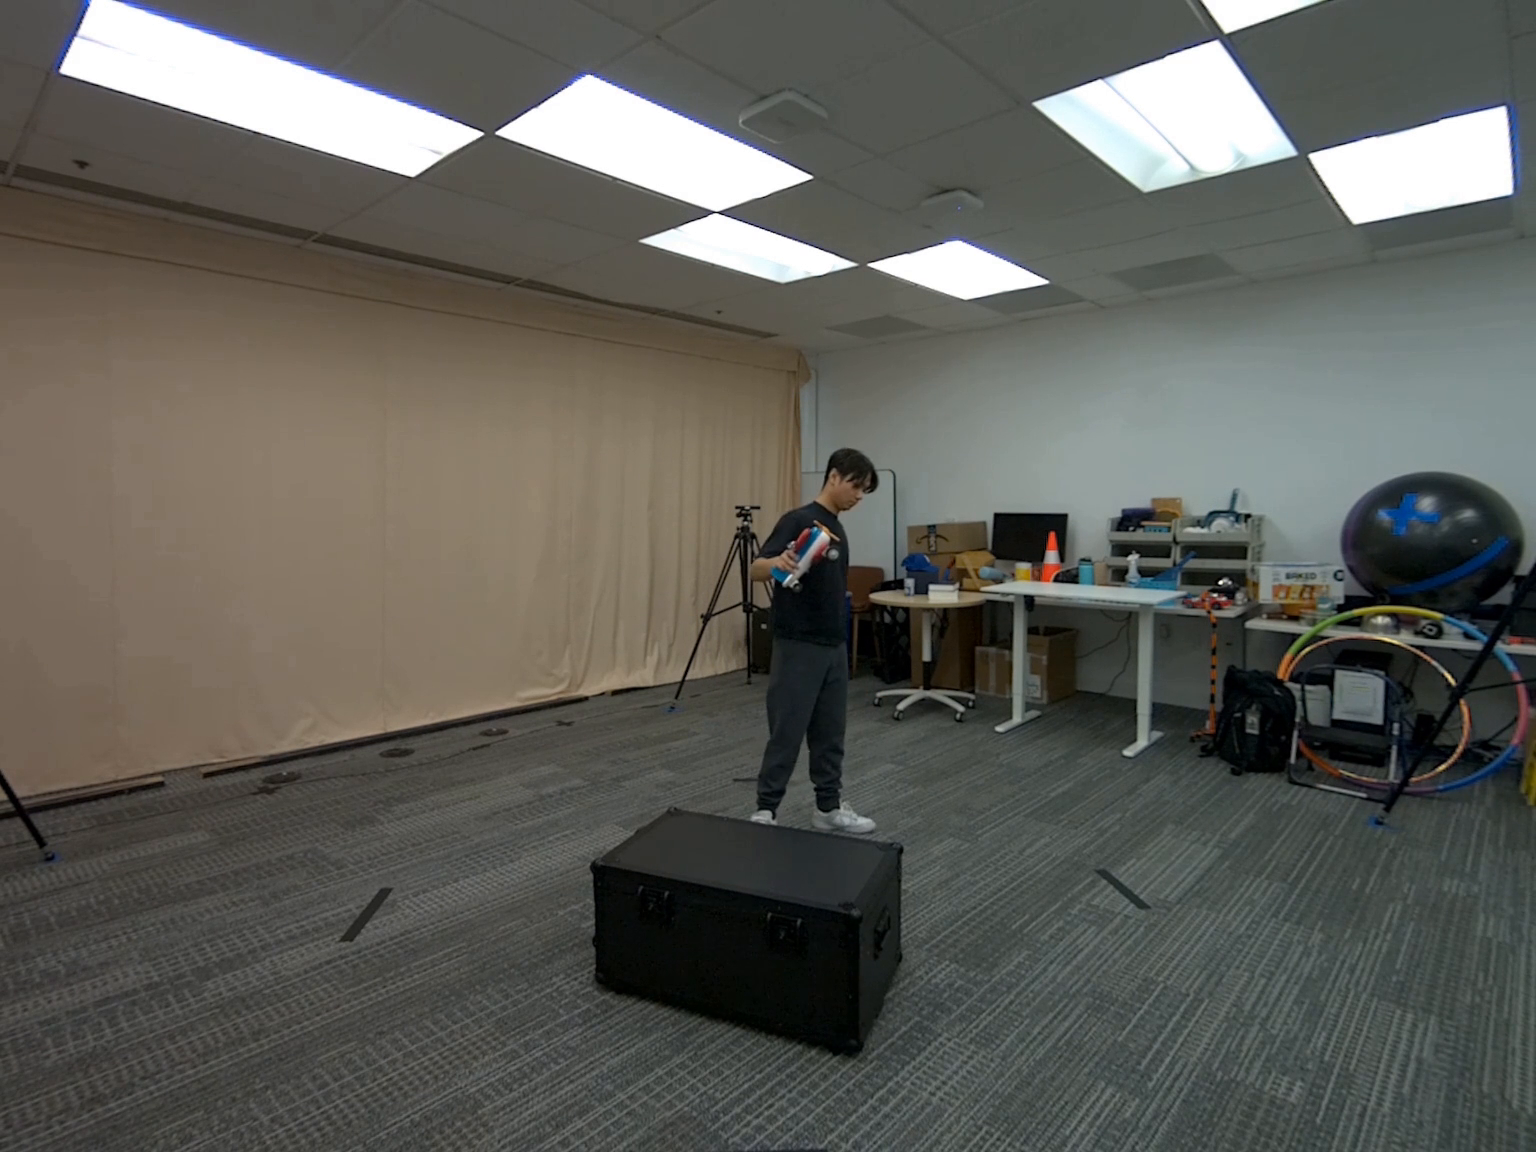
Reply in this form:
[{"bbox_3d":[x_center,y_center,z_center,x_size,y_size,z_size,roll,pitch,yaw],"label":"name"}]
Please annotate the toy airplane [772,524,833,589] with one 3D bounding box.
[{"bbox_3d":[0.131,-0.069,3.028,0.256,0.158,0.252,-36,-7,-24],"label":"toy airplane"}]
